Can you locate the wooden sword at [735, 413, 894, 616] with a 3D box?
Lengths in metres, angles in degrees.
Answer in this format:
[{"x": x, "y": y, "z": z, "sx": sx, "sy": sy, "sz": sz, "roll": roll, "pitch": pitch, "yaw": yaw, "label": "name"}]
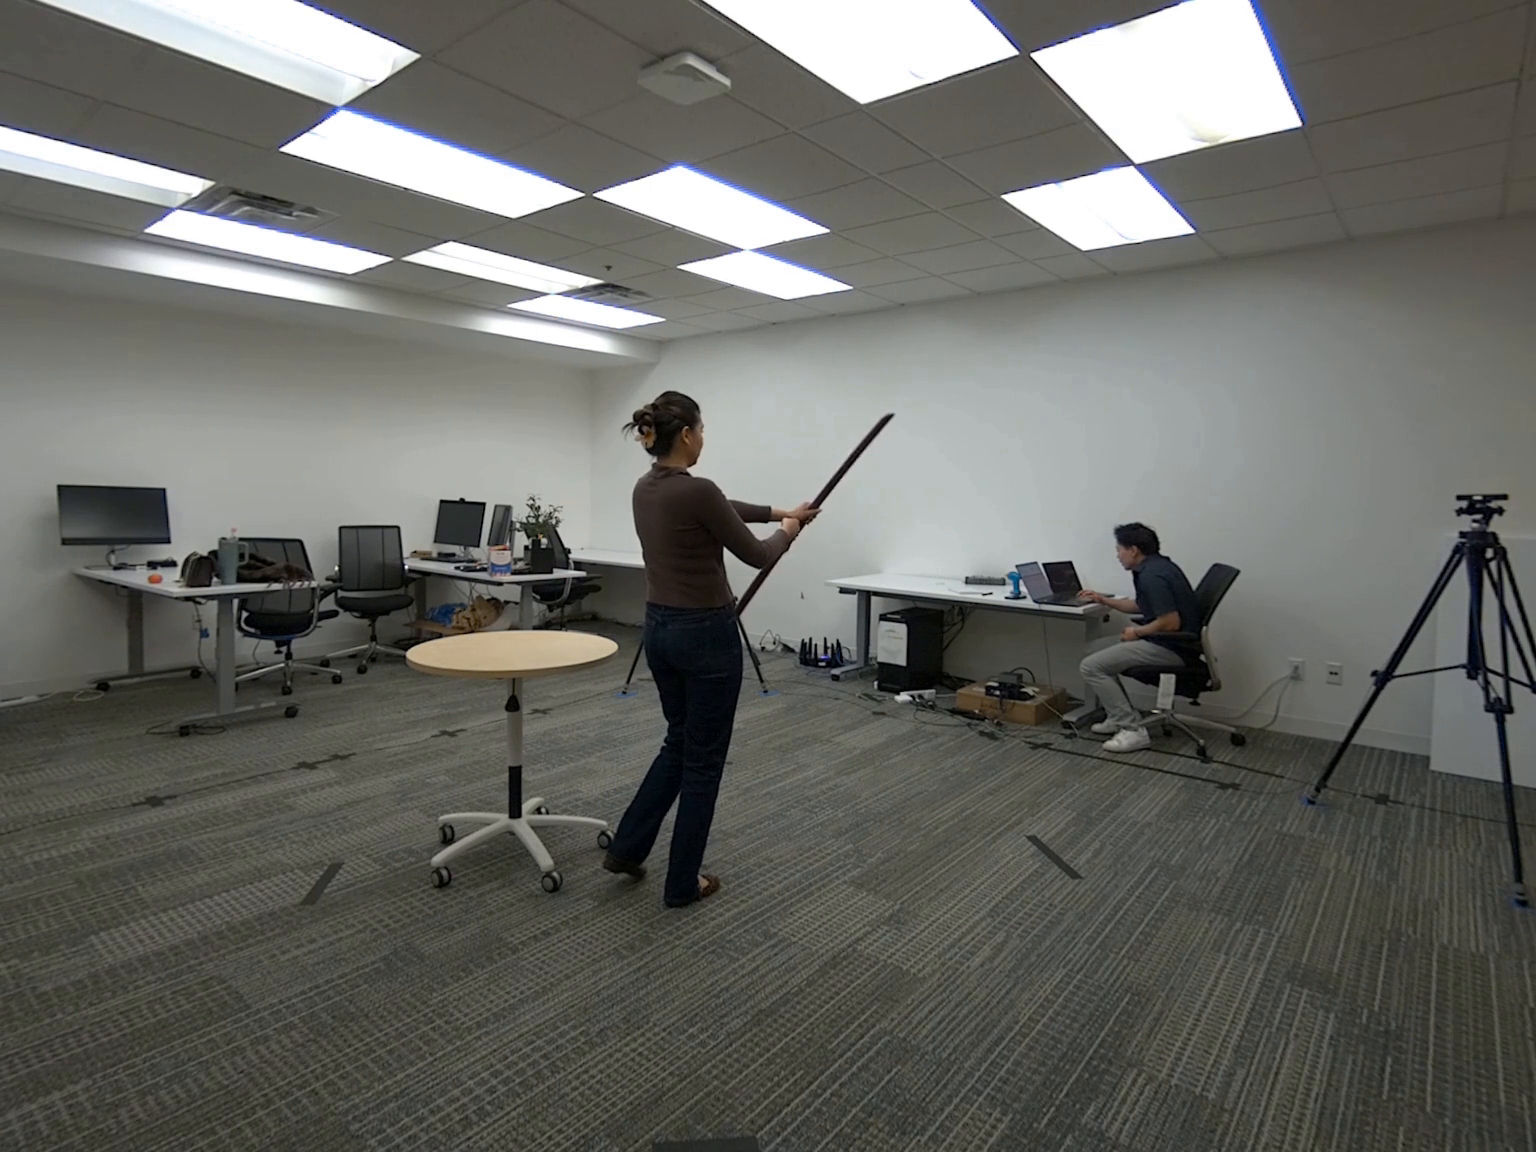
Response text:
[{"x": 0.121, "y": -0.206, "z": 3.202, "sx": 0.023, "sy": 1.021, "sz": 0.053, "roll": 22, "pitch": 25, "yaw": -35, "label": "wooden sword"}]
